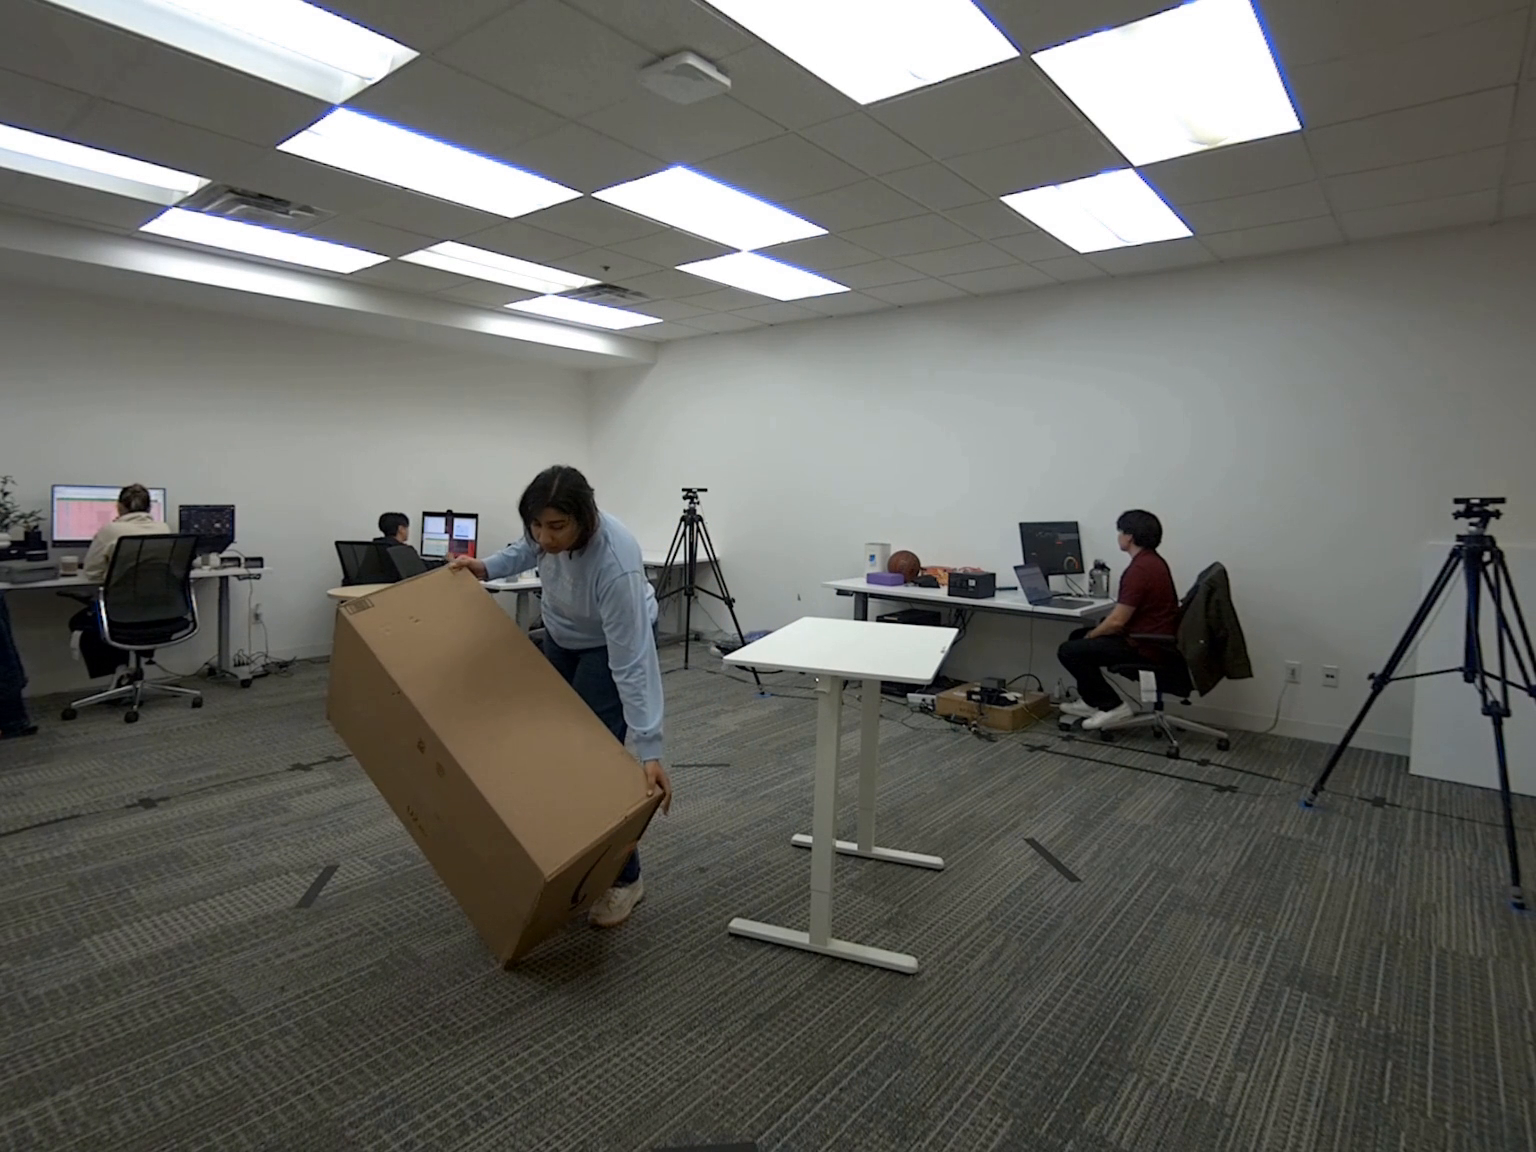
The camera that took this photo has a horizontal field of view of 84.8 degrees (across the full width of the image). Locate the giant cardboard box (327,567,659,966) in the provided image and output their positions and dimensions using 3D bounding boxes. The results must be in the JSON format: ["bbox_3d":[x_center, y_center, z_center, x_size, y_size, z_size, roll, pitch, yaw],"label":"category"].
[{"bbox_3d":[-0.888,0.544,2.606,1.056,0.571,0.419,43,41,20],"label":"giant cardboard box"}]
